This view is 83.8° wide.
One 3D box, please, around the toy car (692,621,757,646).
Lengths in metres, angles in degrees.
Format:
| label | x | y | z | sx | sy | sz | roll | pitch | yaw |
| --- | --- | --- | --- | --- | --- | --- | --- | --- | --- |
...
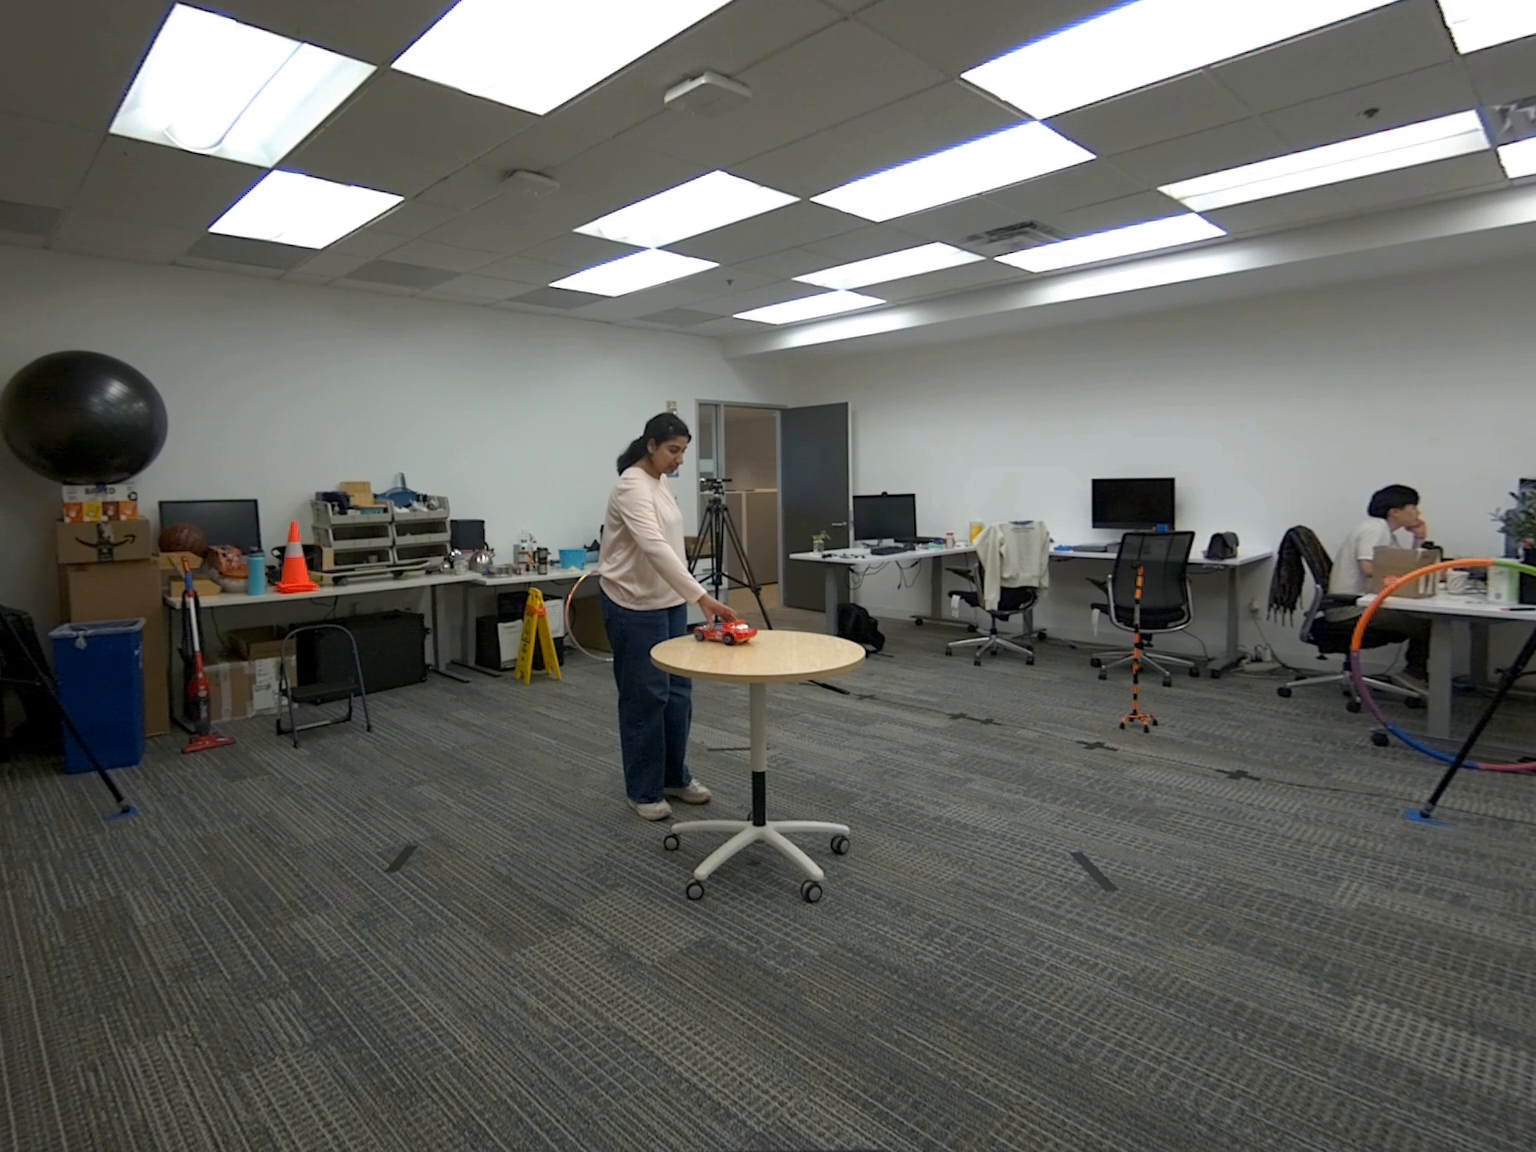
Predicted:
| label | x | y | z | sx | sy | sz | roll | pitch | yaw |
| --- | --- | --- | --- | --- | --- | --- | --- | --- | --- |
| toy car | -0.145 | 0.219 | 3.211 | 0.260 | 0.083 | 0.127 | -9 | -1 | 37 |
